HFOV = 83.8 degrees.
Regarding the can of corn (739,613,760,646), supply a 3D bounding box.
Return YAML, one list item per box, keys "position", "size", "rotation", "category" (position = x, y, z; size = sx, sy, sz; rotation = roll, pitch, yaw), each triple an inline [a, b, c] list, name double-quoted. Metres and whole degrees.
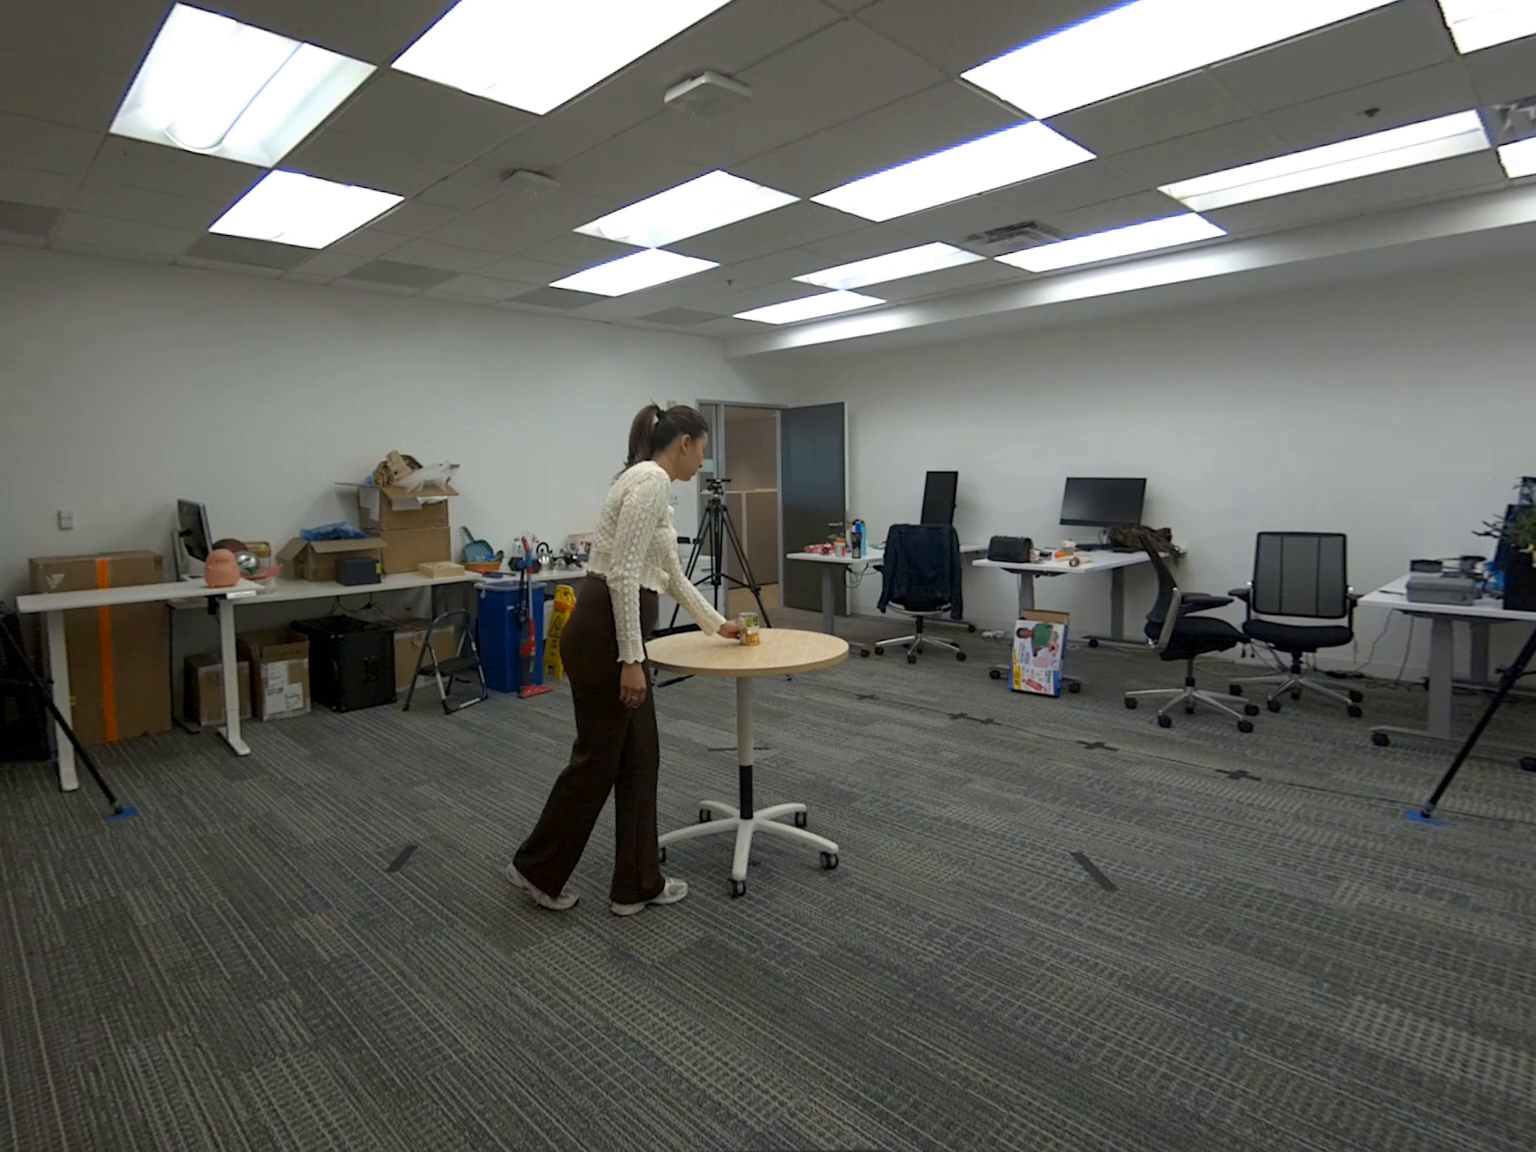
- position: [-0.066, 0.192, 3.167]
  size: [0.074, 0.110, 0.074]
  rotation: [-4, 6, -1]
  category: "can of corn"
